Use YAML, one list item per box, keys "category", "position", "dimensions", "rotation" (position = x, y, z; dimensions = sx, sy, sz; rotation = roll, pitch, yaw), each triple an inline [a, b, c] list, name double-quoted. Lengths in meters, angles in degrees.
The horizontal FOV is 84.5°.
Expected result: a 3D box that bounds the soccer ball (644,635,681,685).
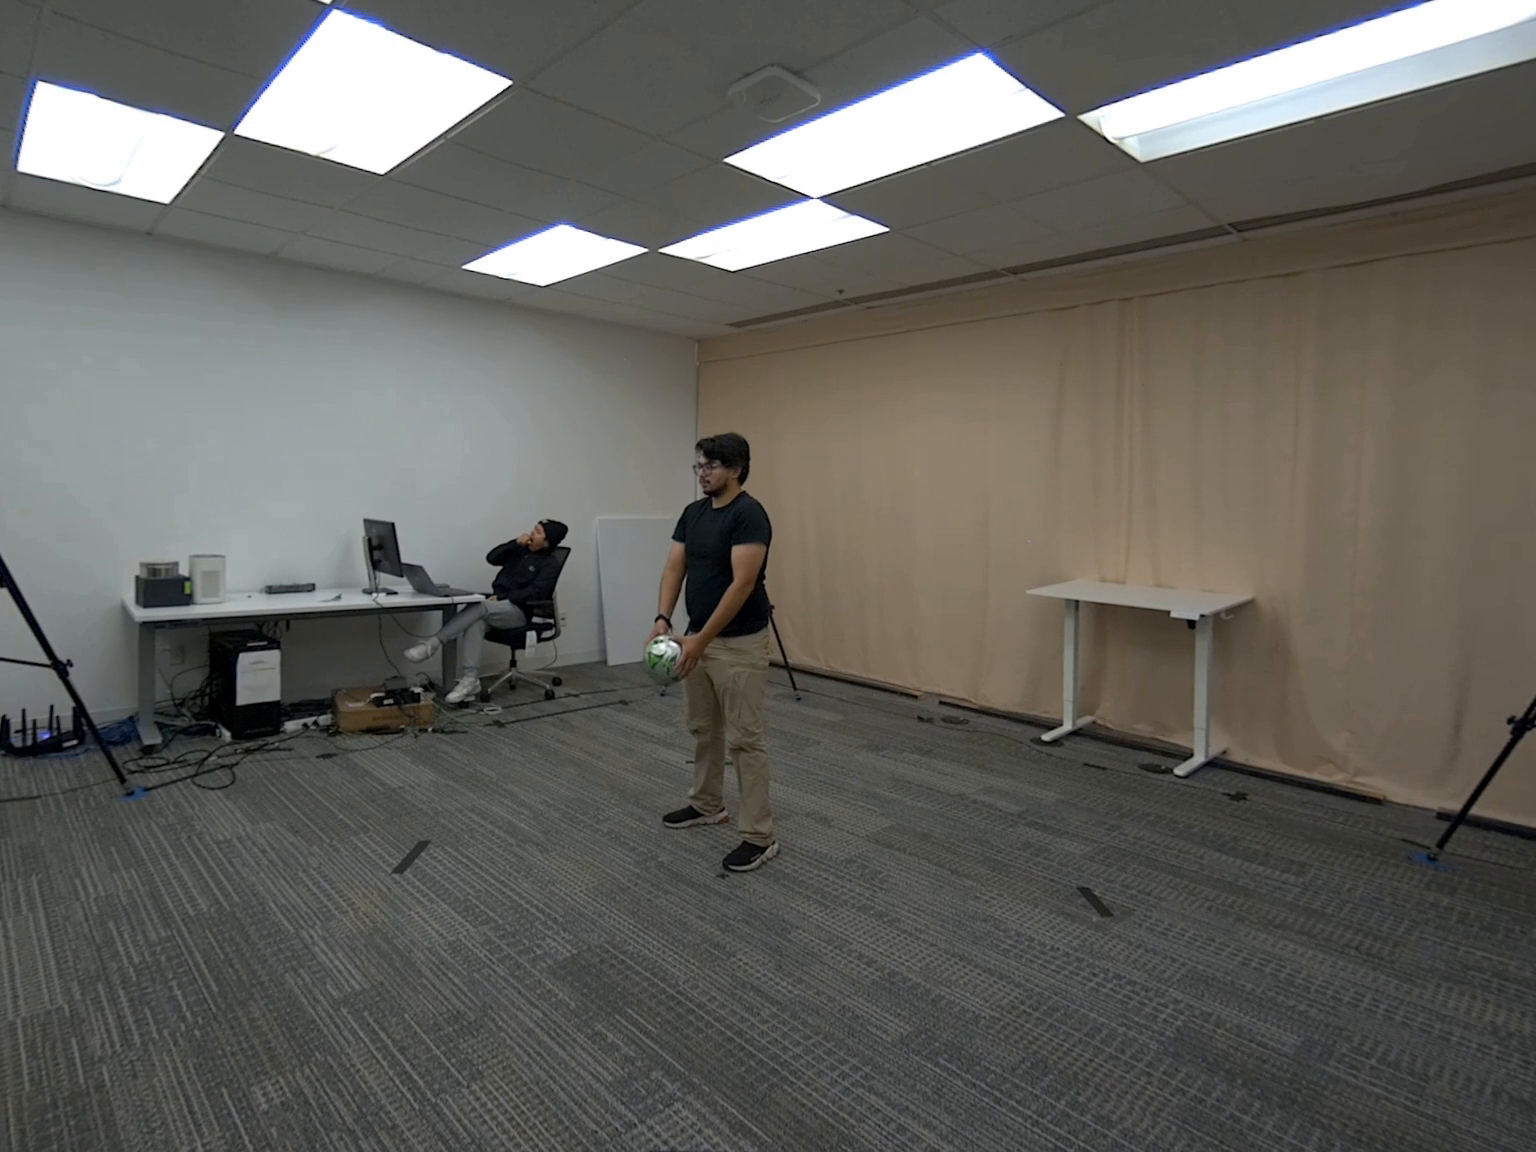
- category: "soccer ball"
  position: [-0.384, 0.312, 3.176]
  dimensions: [0.187, 0.187, 0.188]
  rotation: [1, 4, -1]
